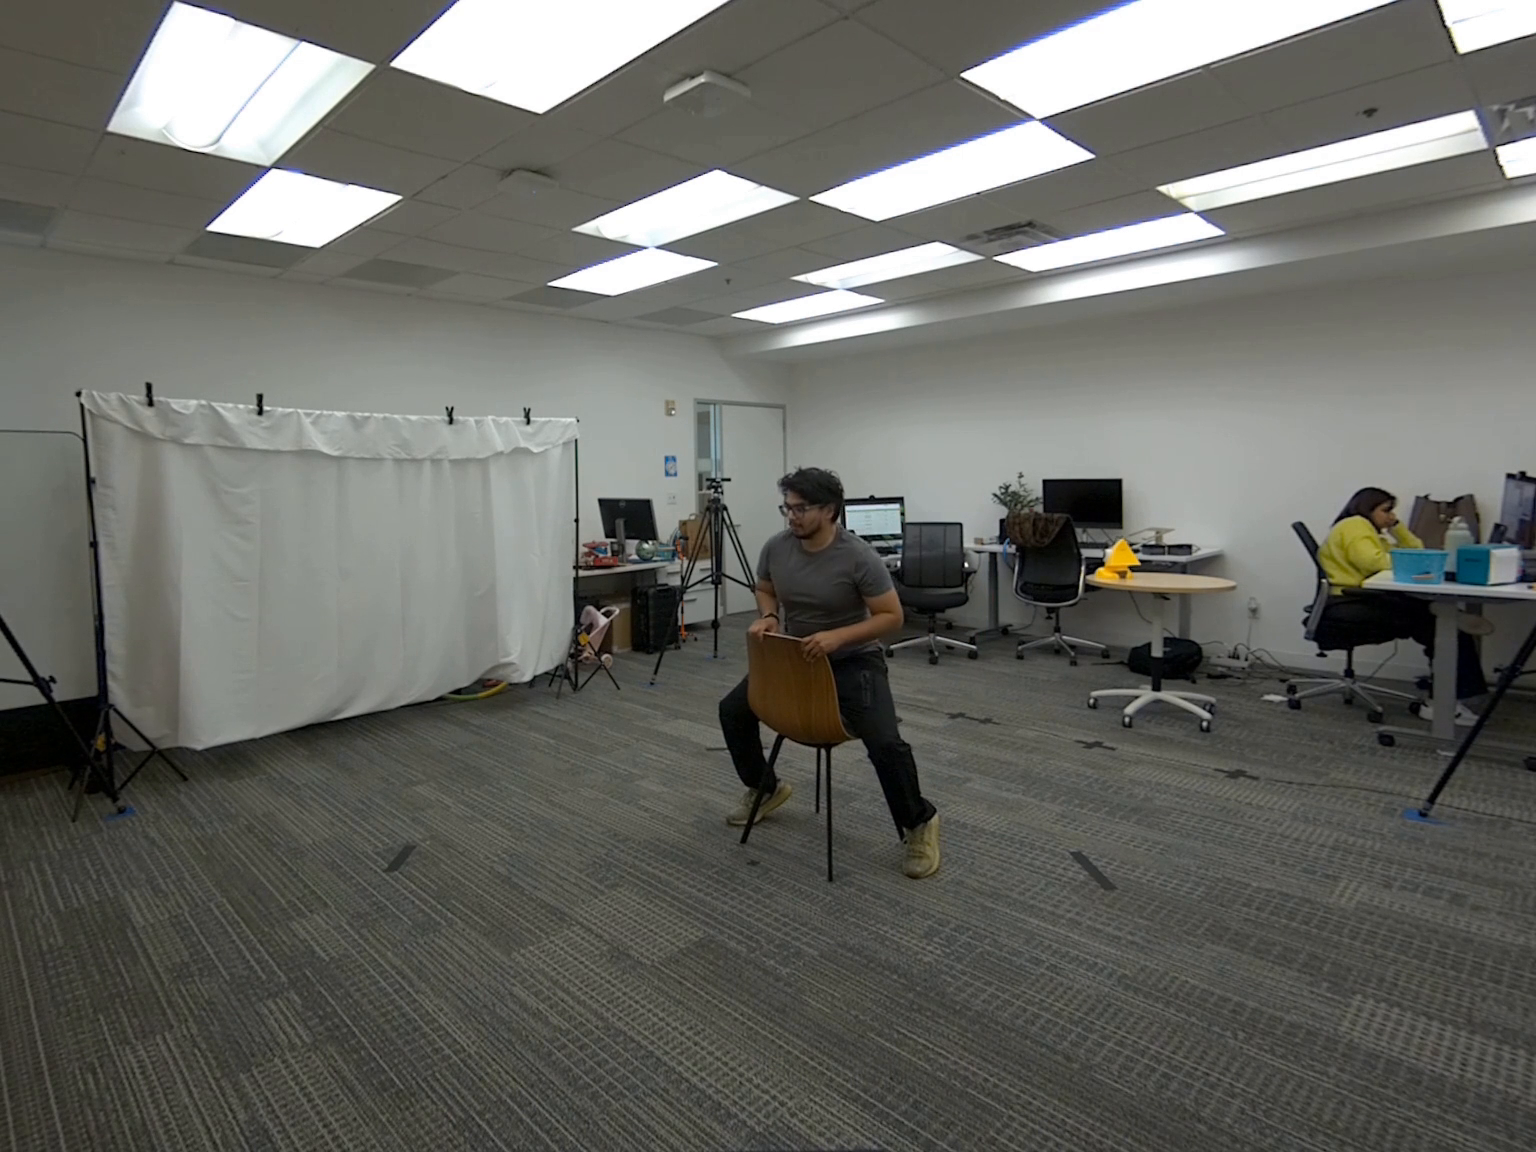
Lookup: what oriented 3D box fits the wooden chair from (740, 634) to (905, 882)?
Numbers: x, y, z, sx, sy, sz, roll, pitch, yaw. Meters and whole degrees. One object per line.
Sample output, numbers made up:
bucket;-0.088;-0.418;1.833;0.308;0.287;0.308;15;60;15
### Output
wooden chair;0.215;0.595;3.233;0.511;0.872;0.493;-10;9;-43
